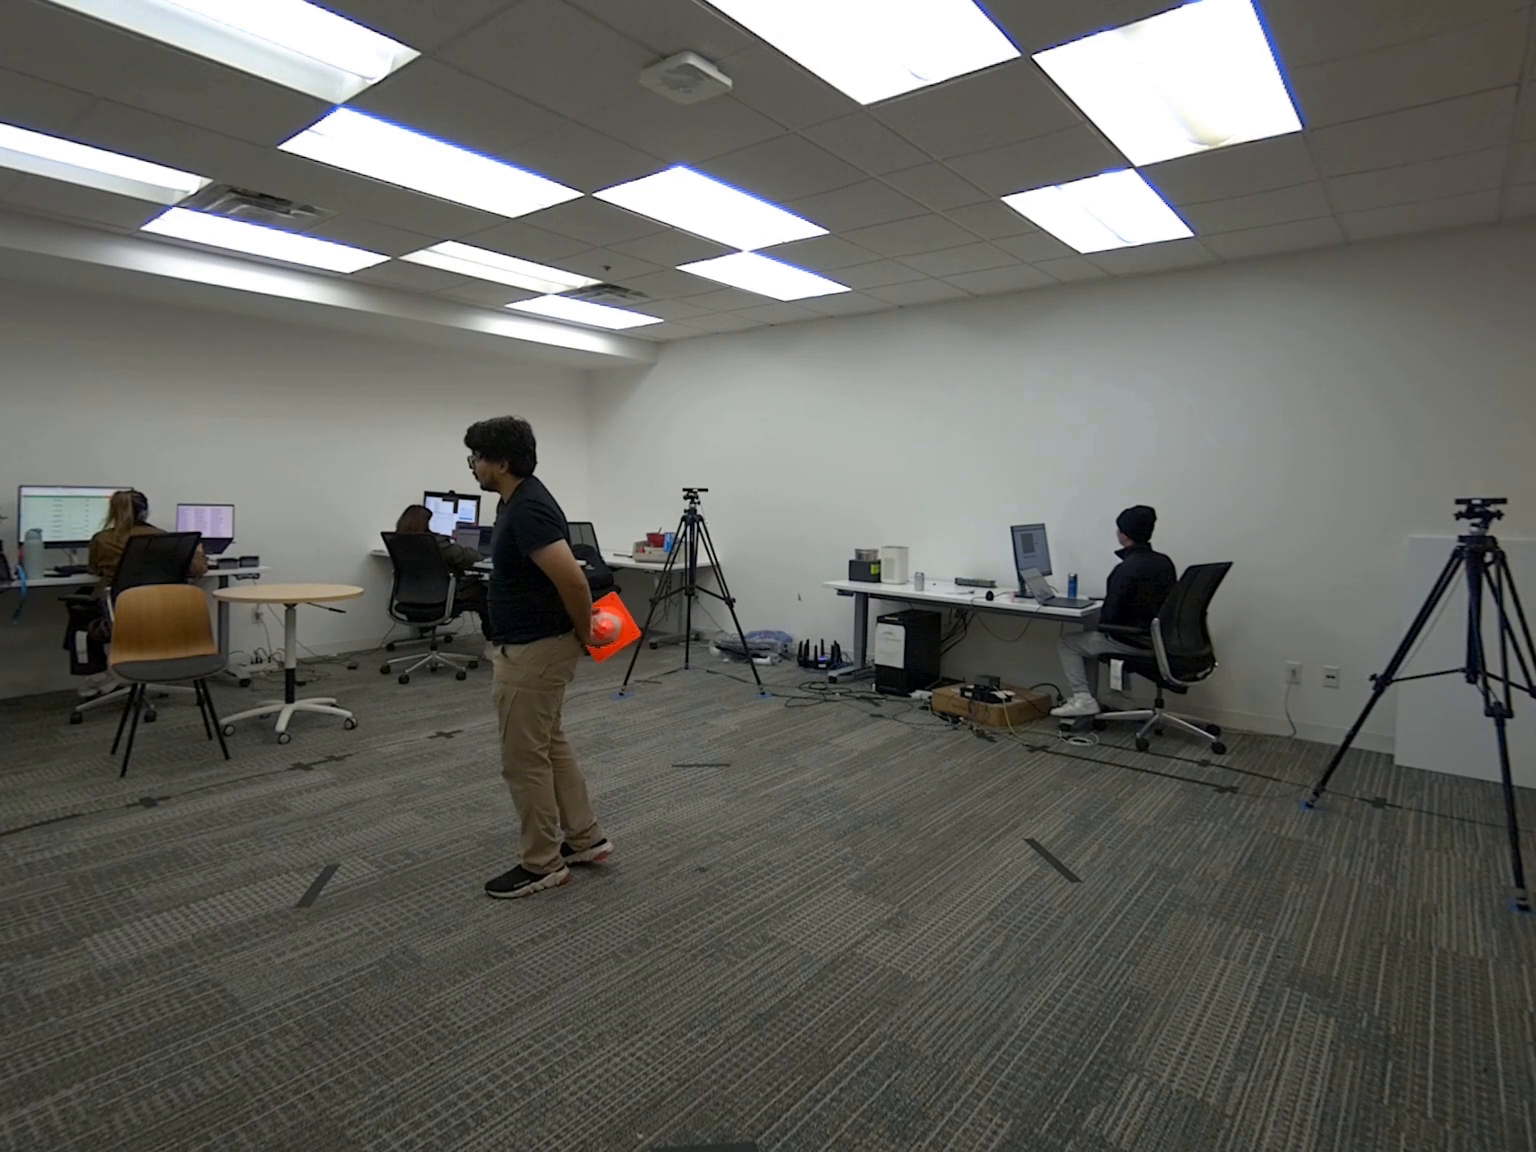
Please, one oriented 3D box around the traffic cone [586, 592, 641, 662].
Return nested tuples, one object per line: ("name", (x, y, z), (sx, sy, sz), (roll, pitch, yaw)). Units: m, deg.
("traffic cone", (-0.608, 0.199, 3.007), (0.203, 0.205, 0.384), (-36, 3, -2))
